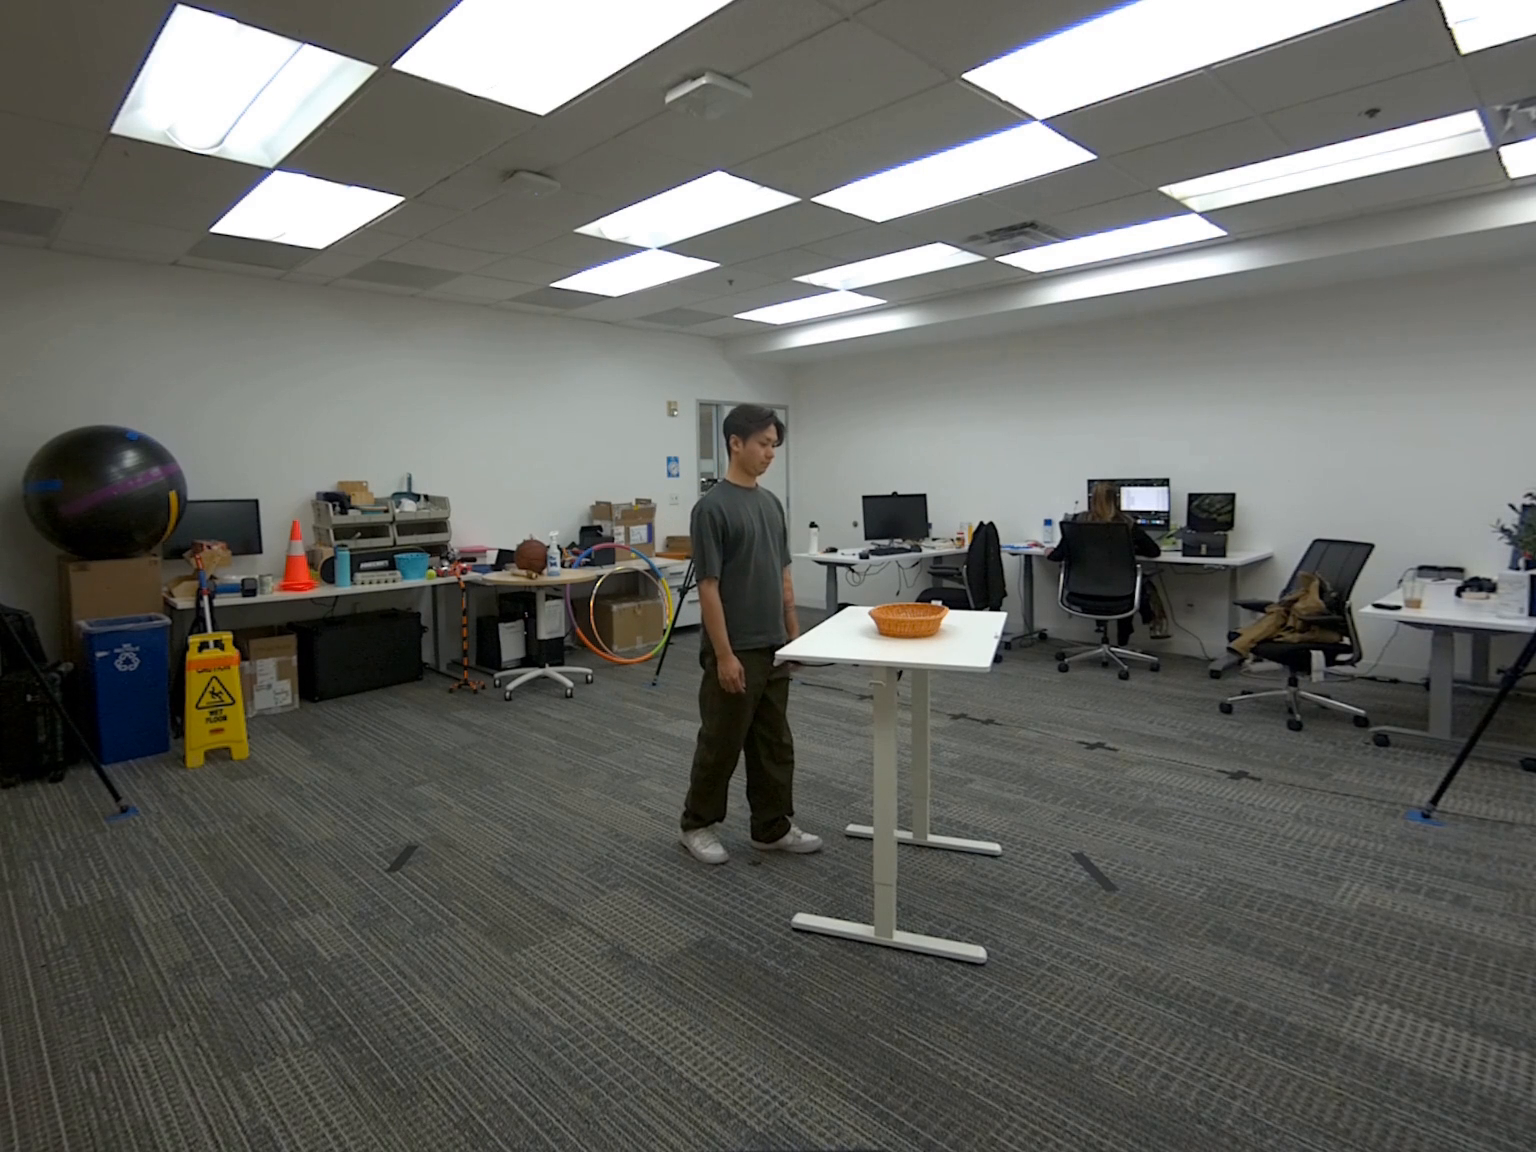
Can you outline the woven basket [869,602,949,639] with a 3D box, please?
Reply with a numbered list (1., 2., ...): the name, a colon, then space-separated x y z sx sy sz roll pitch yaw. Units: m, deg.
1. woven basket: 0.484 0.154 2.835 0.258 0.073 0.344 2 7 22
